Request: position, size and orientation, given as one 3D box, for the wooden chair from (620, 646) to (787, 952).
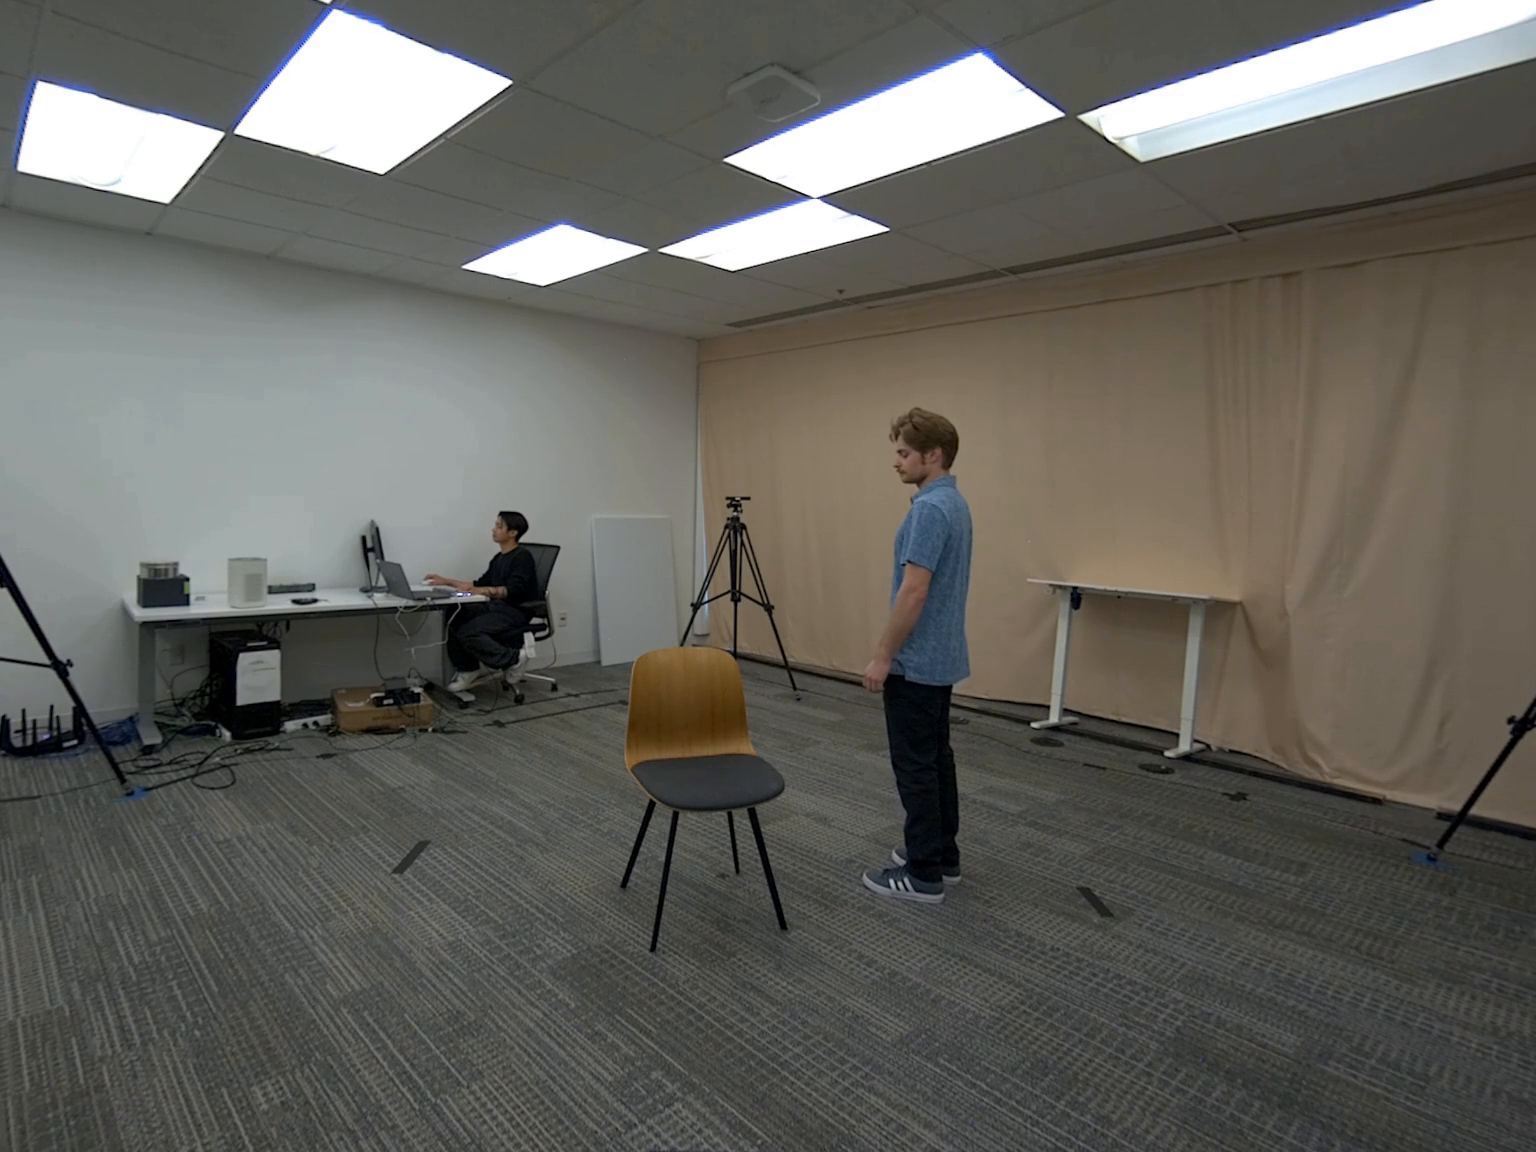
[{"bbox_3d":[-0.224,0.706,2.813,0.471,0.878,0.531,0,-1,-21],"label":"wooden chair"}]
